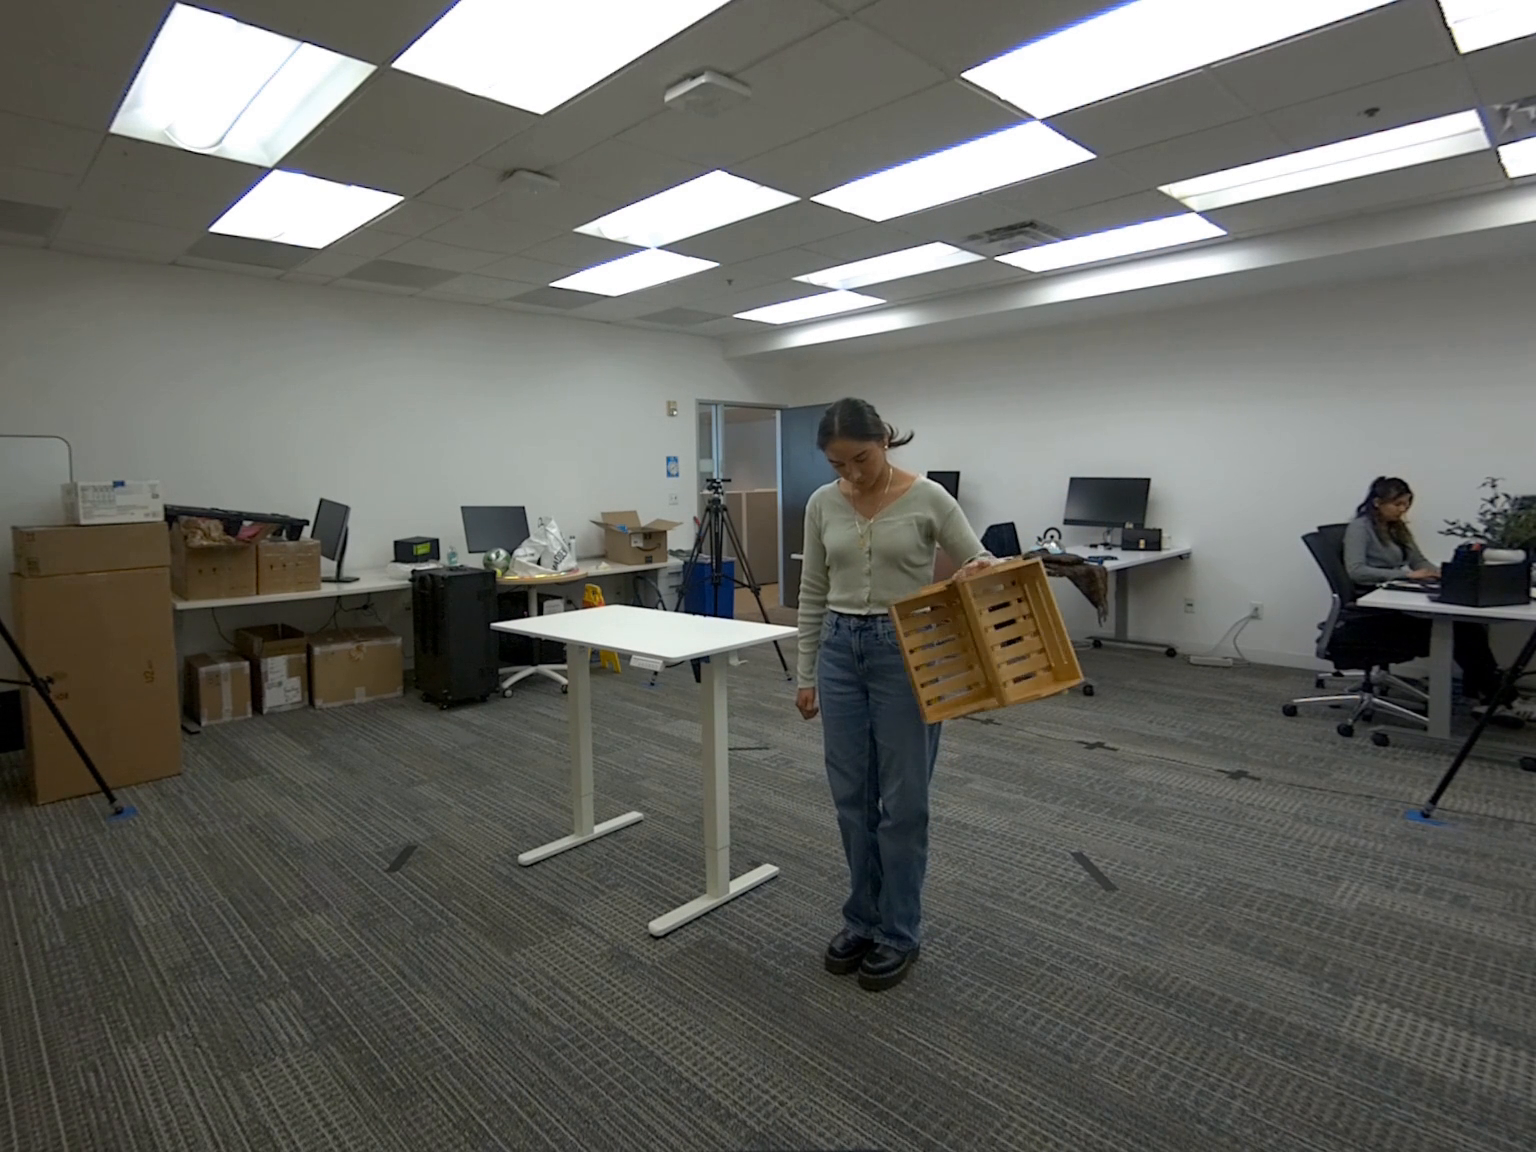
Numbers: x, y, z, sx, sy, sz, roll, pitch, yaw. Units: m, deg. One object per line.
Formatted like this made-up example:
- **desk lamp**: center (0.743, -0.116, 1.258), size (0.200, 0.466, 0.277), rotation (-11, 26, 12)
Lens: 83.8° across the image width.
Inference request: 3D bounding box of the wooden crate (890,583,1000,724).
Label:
- **wooden crate**: center (0.516, 0.162, 2.030), size (0.296, 0.328, 0.275), rotation (-12, -11, -30)
